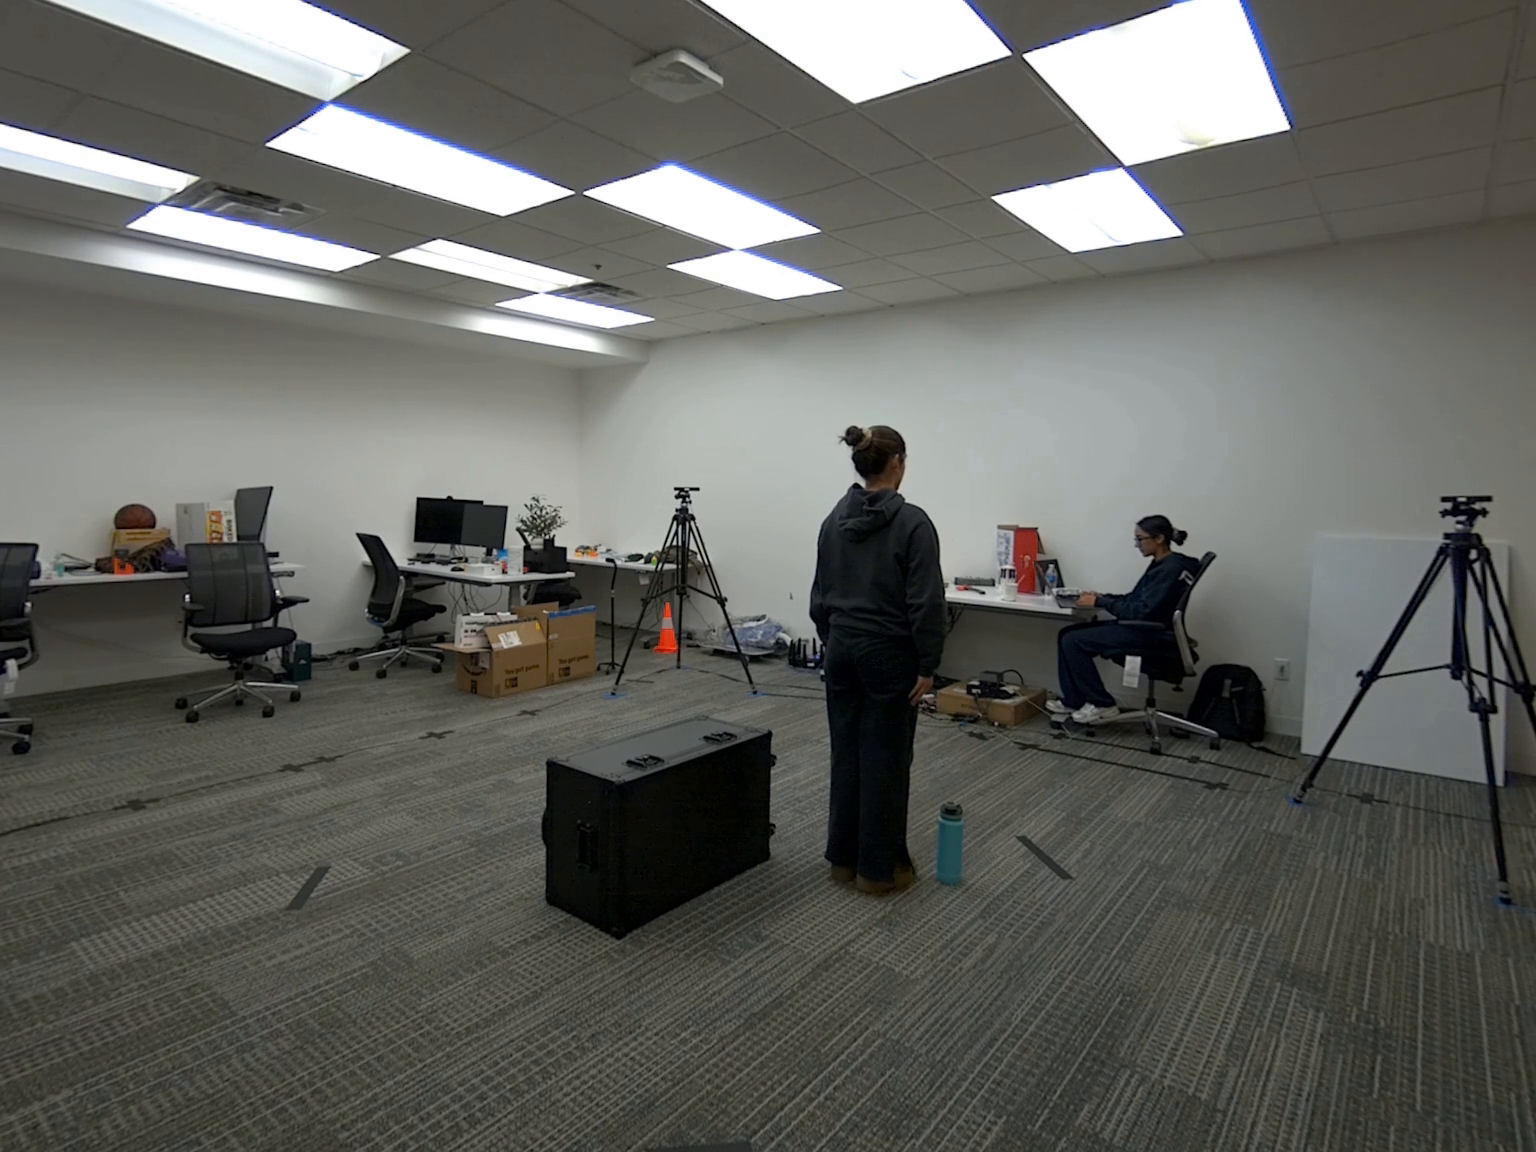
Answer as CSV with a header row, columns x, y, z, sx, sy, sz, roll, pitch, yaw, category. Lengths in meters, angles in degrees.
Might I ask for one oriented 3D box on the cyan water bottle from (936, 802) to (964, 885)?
x,y,z,sx,sy,sz,roll,pitch,yaw,category
0.662,0.949,3.063,0.092,0.282,0.093,2,3,-2,cyan water bottle
